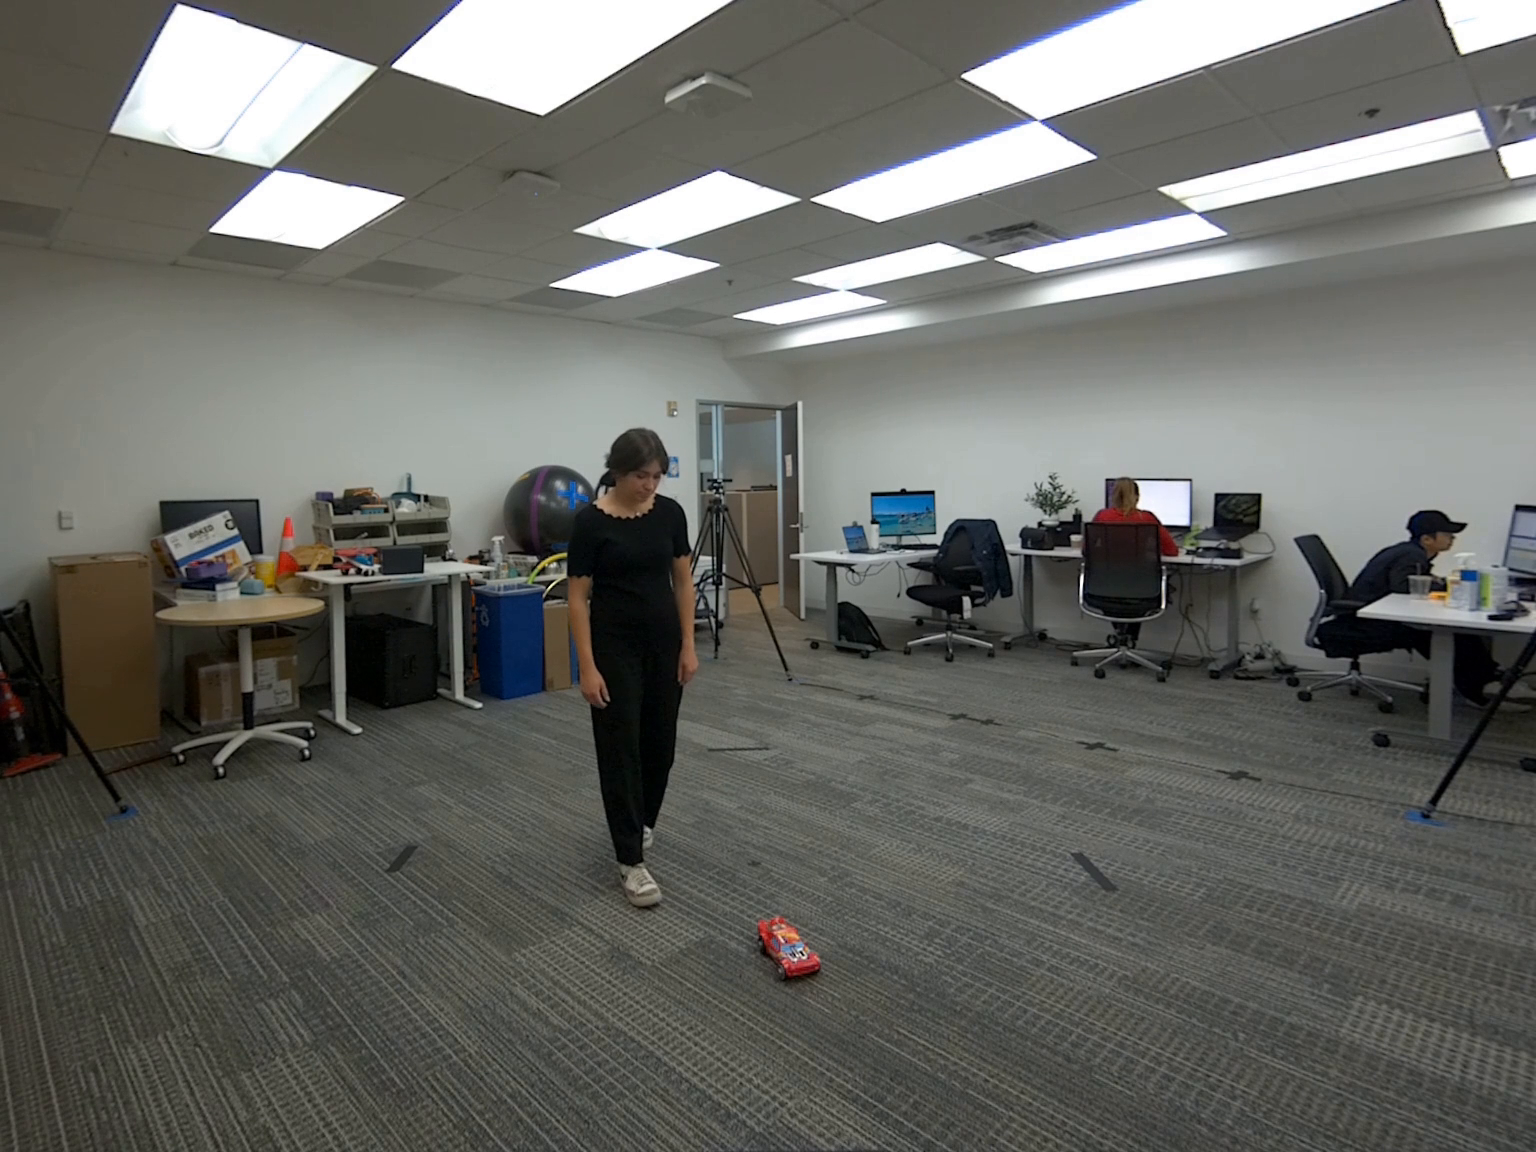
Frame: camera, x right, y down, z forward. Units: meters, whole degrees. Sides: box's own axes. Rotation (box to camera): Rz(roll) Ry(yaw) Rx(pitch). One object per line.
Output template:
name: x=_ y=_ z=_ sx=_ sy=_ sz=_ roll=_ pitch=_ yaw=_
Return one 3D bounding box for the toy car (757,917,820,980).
toy car: x=0.055 y=1.086 z=2.485 sx=0.128 sy=0.082 sz=0.262 roll=-4 pitch=16 yaw=-21
